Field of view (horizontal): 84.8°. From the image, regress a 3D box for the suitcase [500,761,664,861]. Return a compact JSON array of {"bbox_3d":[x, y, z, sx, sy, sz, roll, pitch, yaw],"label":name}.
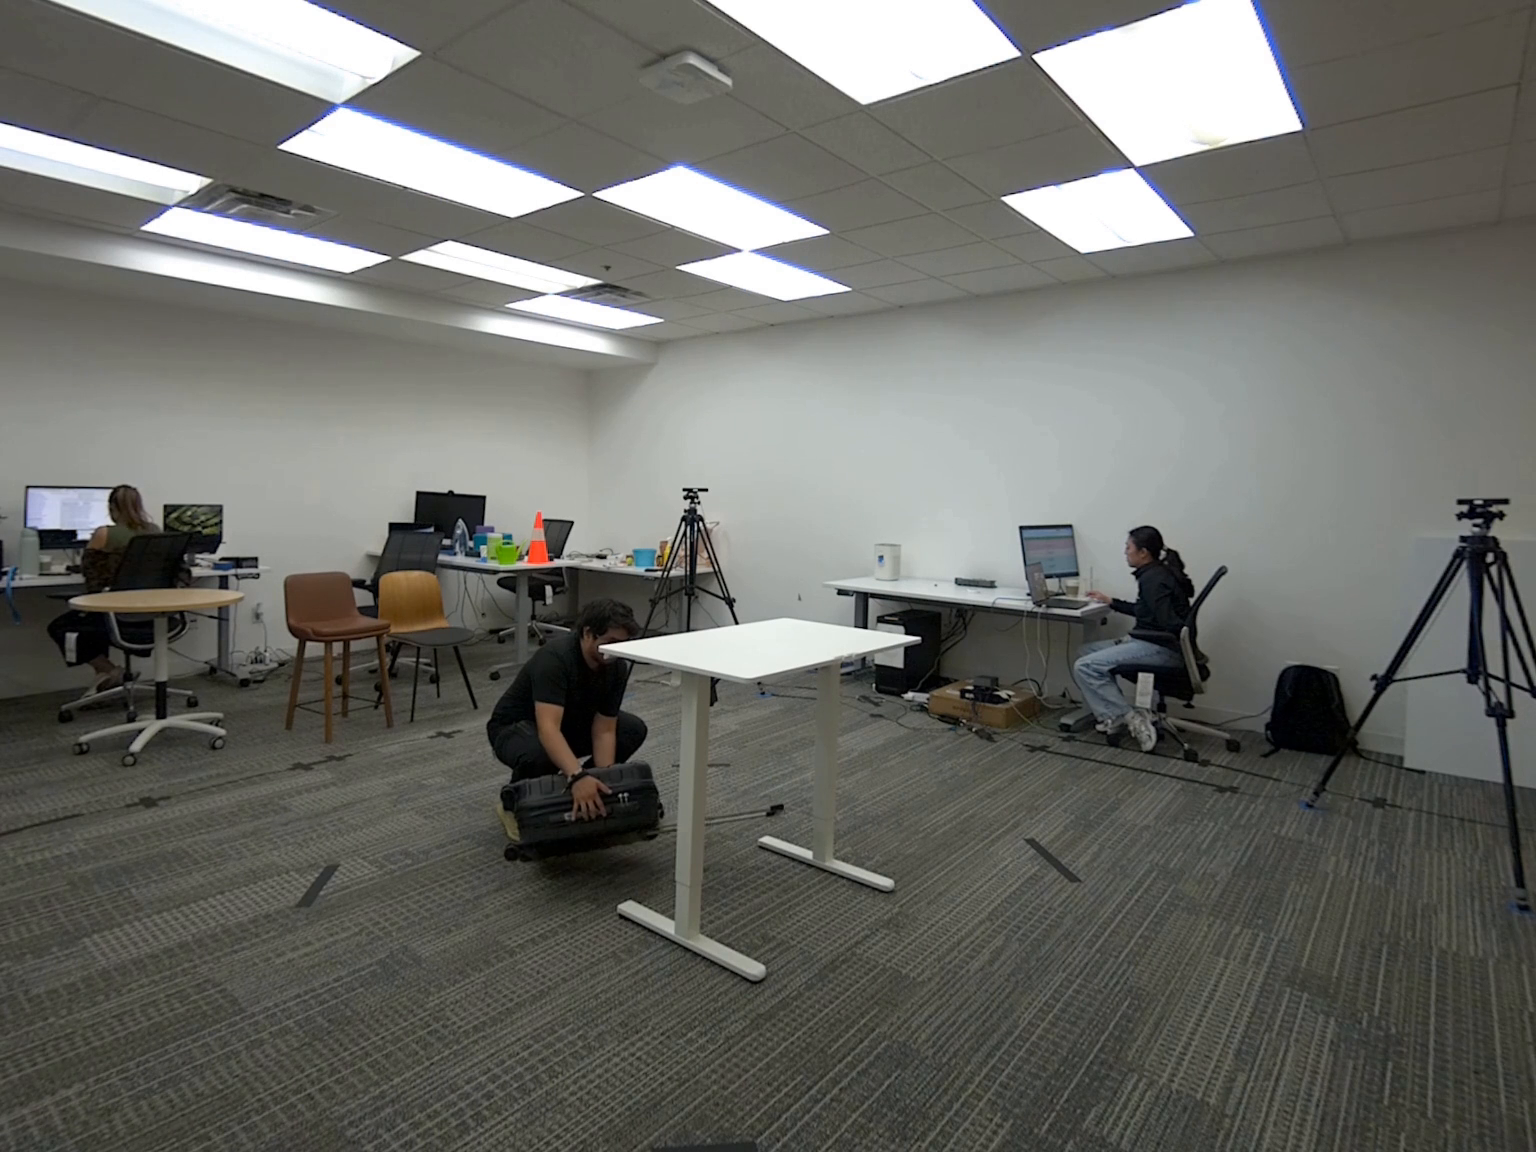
[{"bbox_3d":[-0.475,0.830,3.122,0.969,0.264,0.377,-7,-24,-11],"label":"suitcase"}]
